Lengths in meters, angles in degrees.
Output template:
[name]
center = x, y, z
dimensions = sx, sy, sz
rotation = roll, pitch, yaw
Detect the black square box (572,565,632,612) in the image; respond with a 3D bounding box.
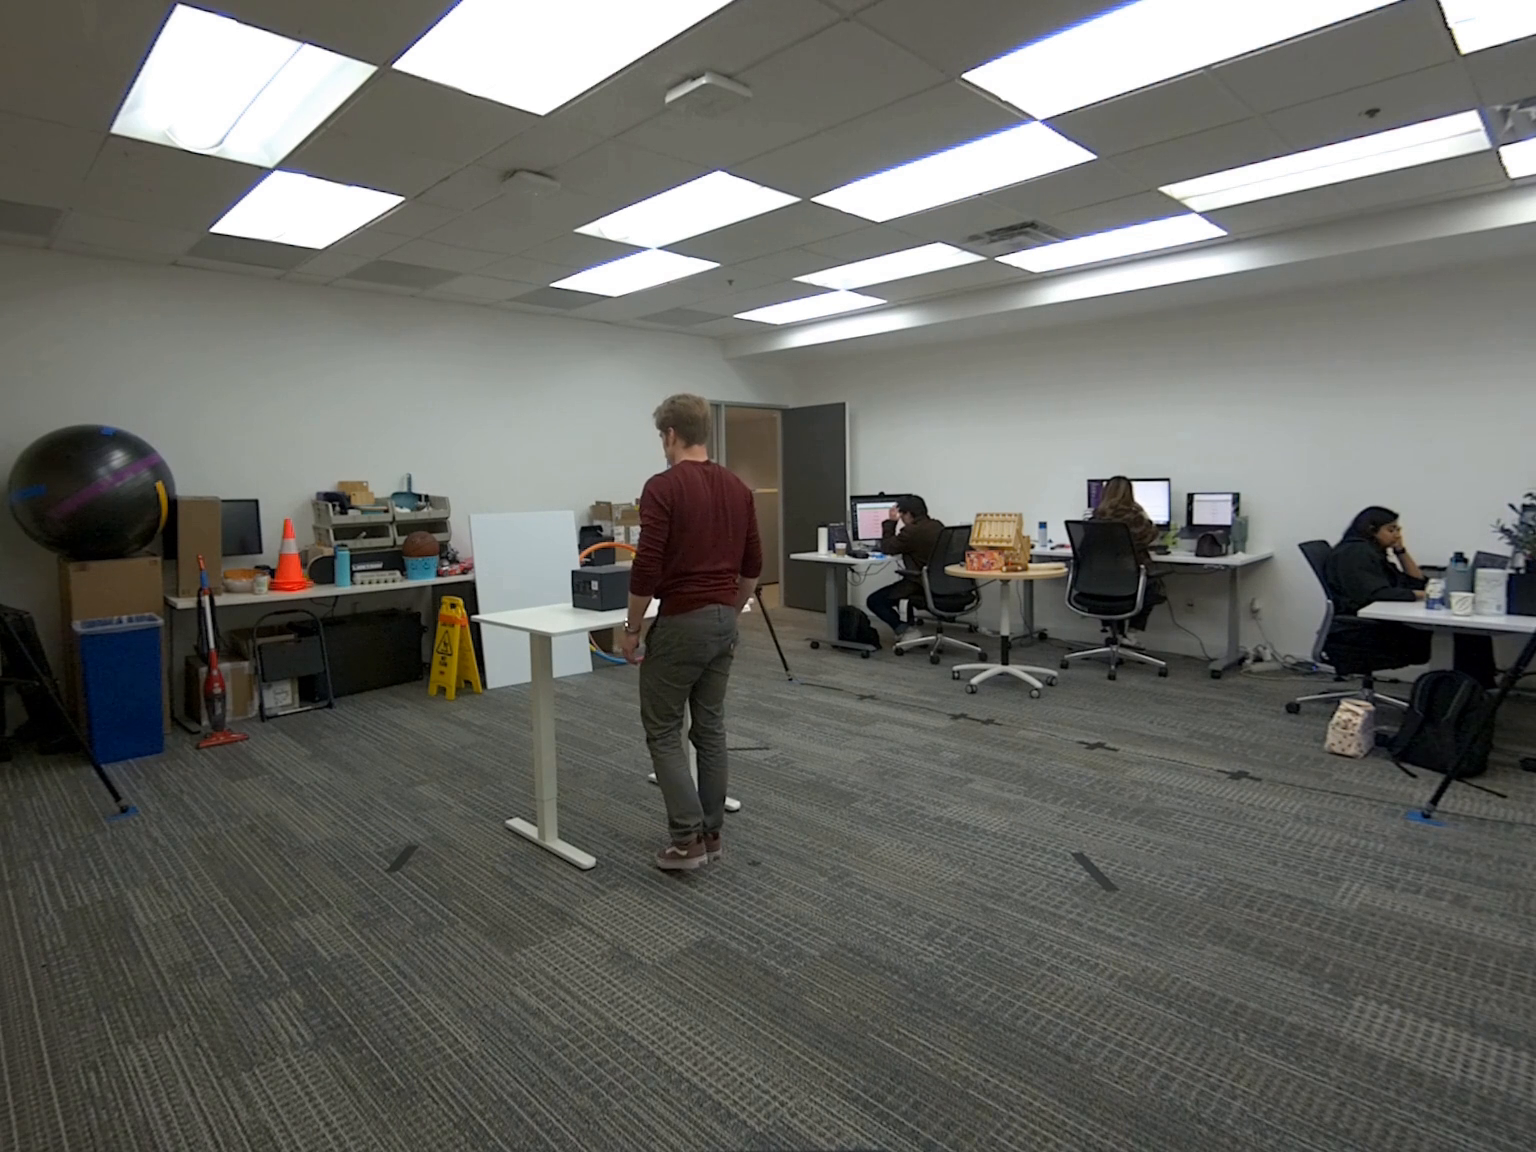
[black square box]
center = -0.650, 0.045, 3.534
dimensions = 0.223, 0.155, 0.222
rotation = 3, 7, 44
